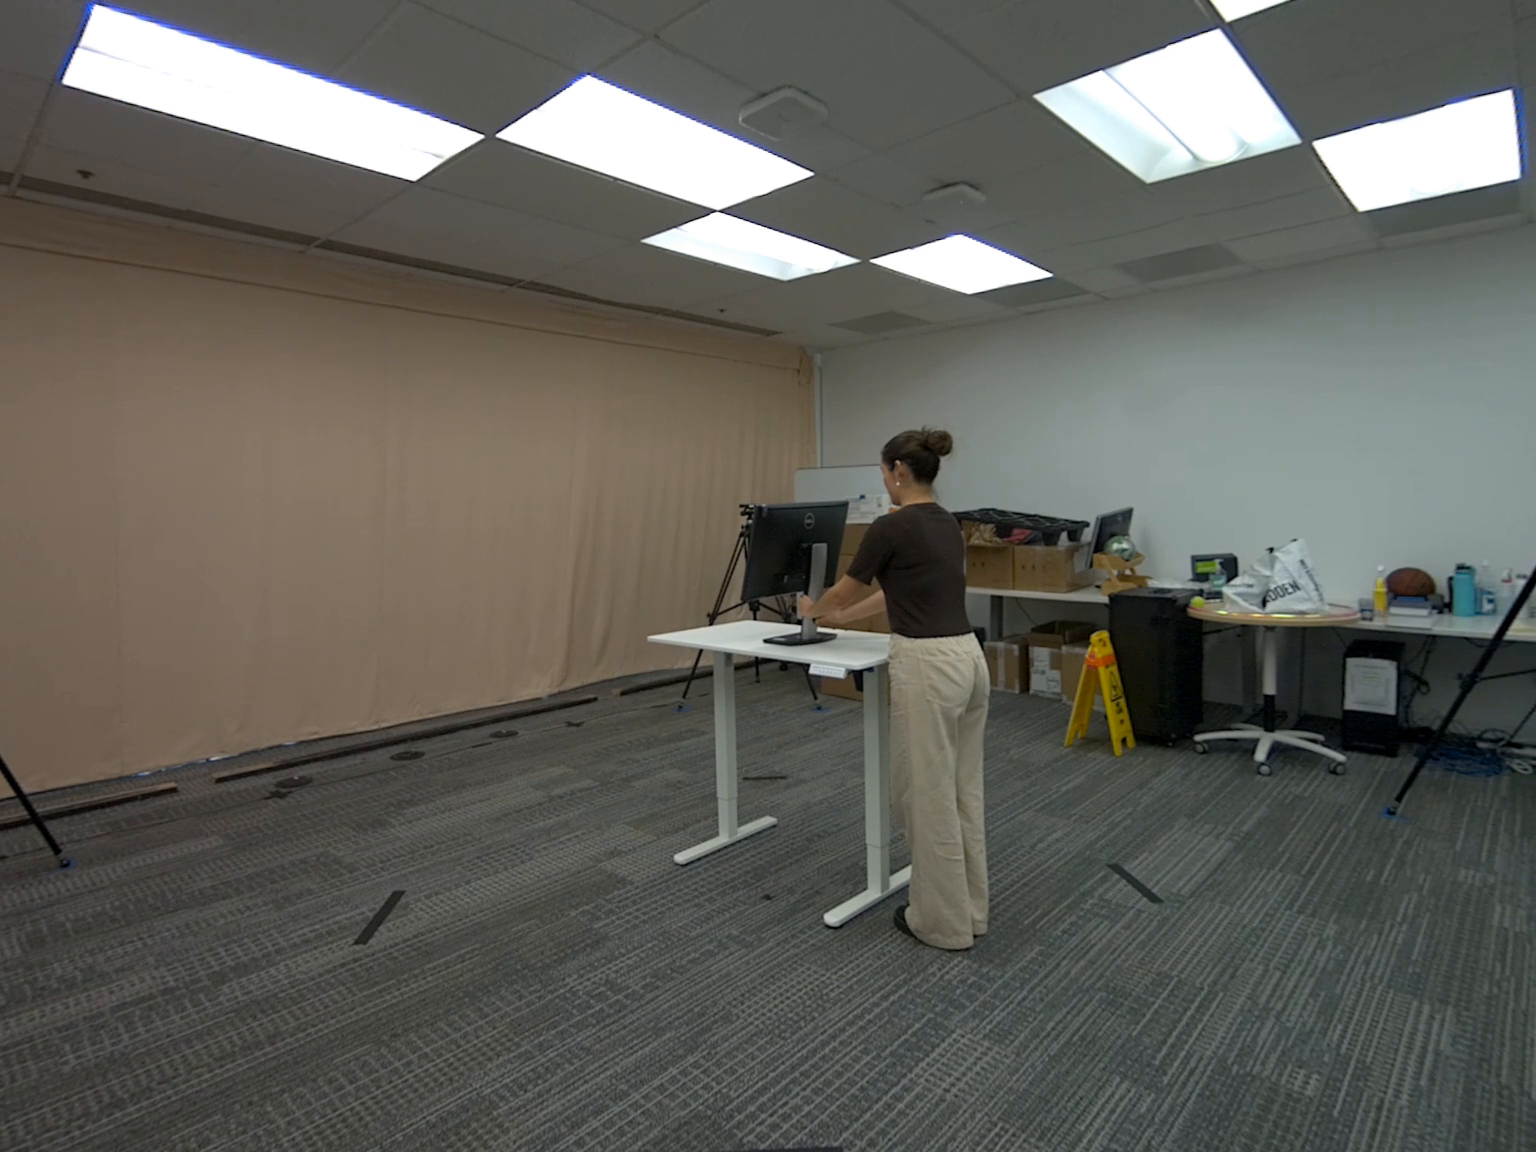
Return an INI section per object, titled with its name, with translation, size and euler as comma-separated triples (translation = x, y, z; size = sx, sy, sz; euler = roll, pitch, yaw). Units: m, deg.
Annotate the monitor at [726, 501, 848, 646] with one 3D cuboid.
[monitor]
translation = 0.135, -0.013, 3.127
size = 0.180, 0.515, 0.514
euler = -2, 3, 42
